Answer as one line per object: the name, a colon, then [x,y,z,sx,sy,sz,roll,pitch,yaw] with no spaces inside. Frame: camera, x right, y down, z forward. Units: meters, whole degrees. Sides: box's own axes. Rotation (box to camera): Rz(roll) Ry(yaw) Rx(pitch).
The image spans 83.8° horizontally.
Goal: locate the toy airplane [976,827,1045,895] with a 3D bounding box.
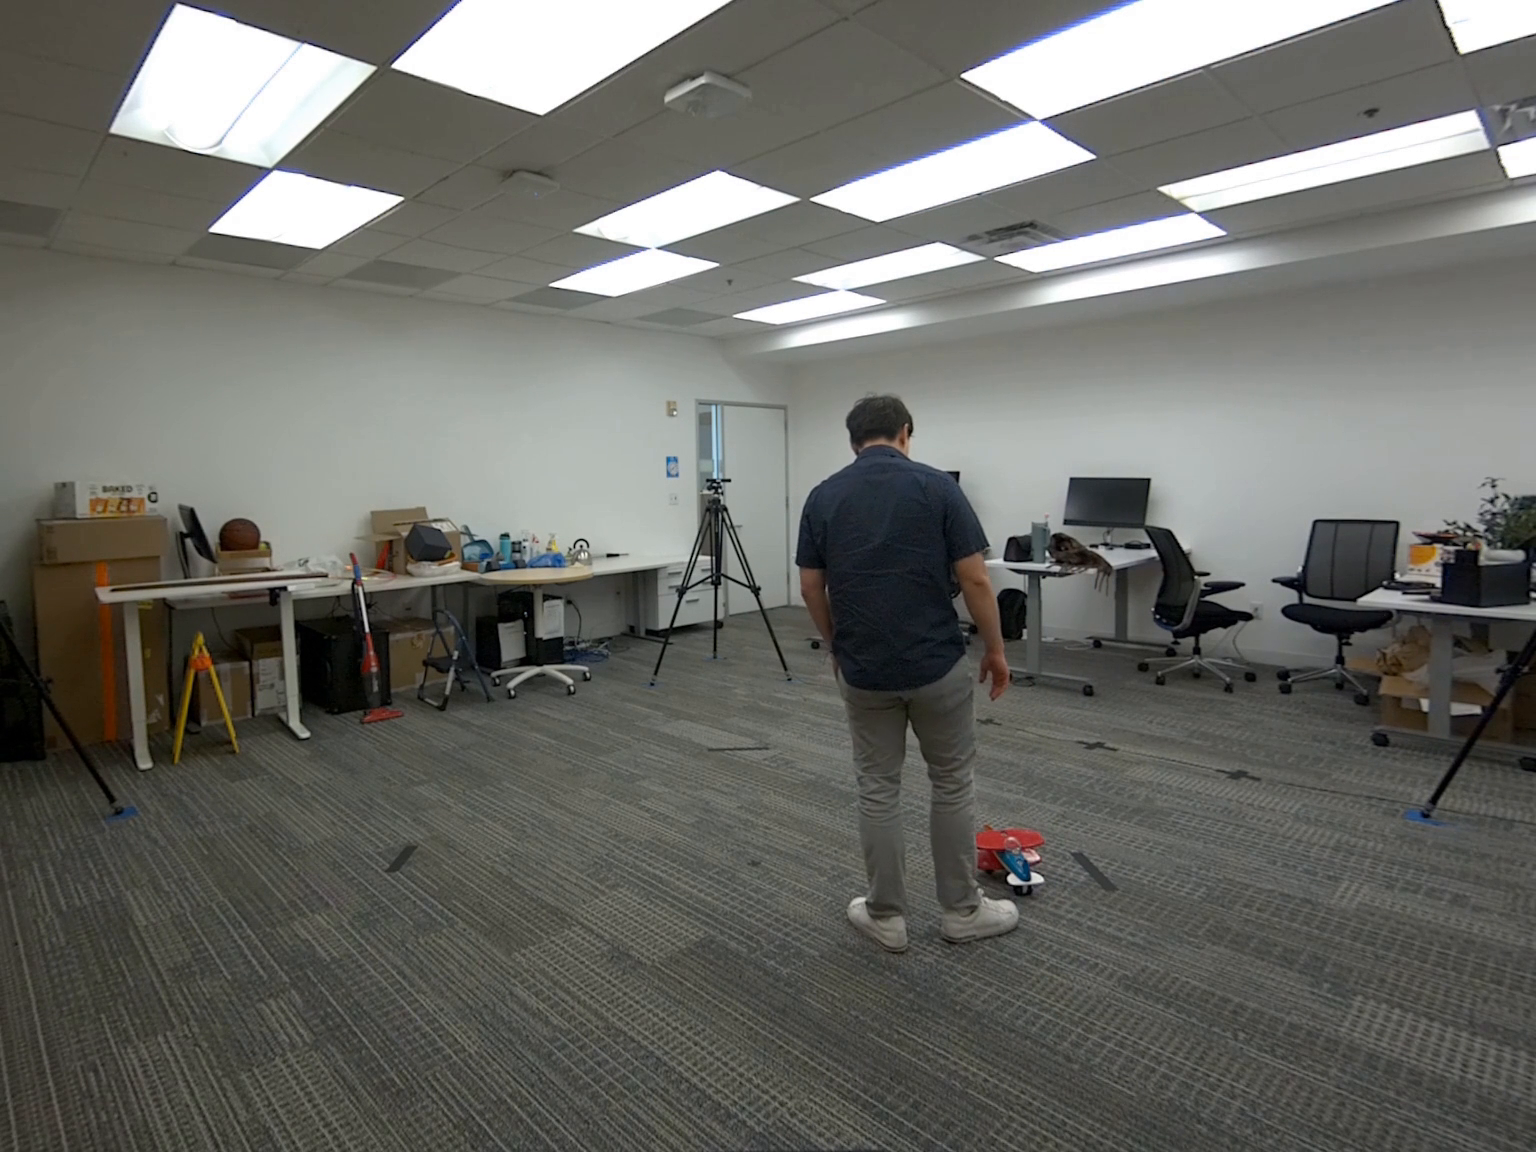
toy airplane: [0.858,0.979,2.925,0.245,0.156,0.267,-5,7,-36]
